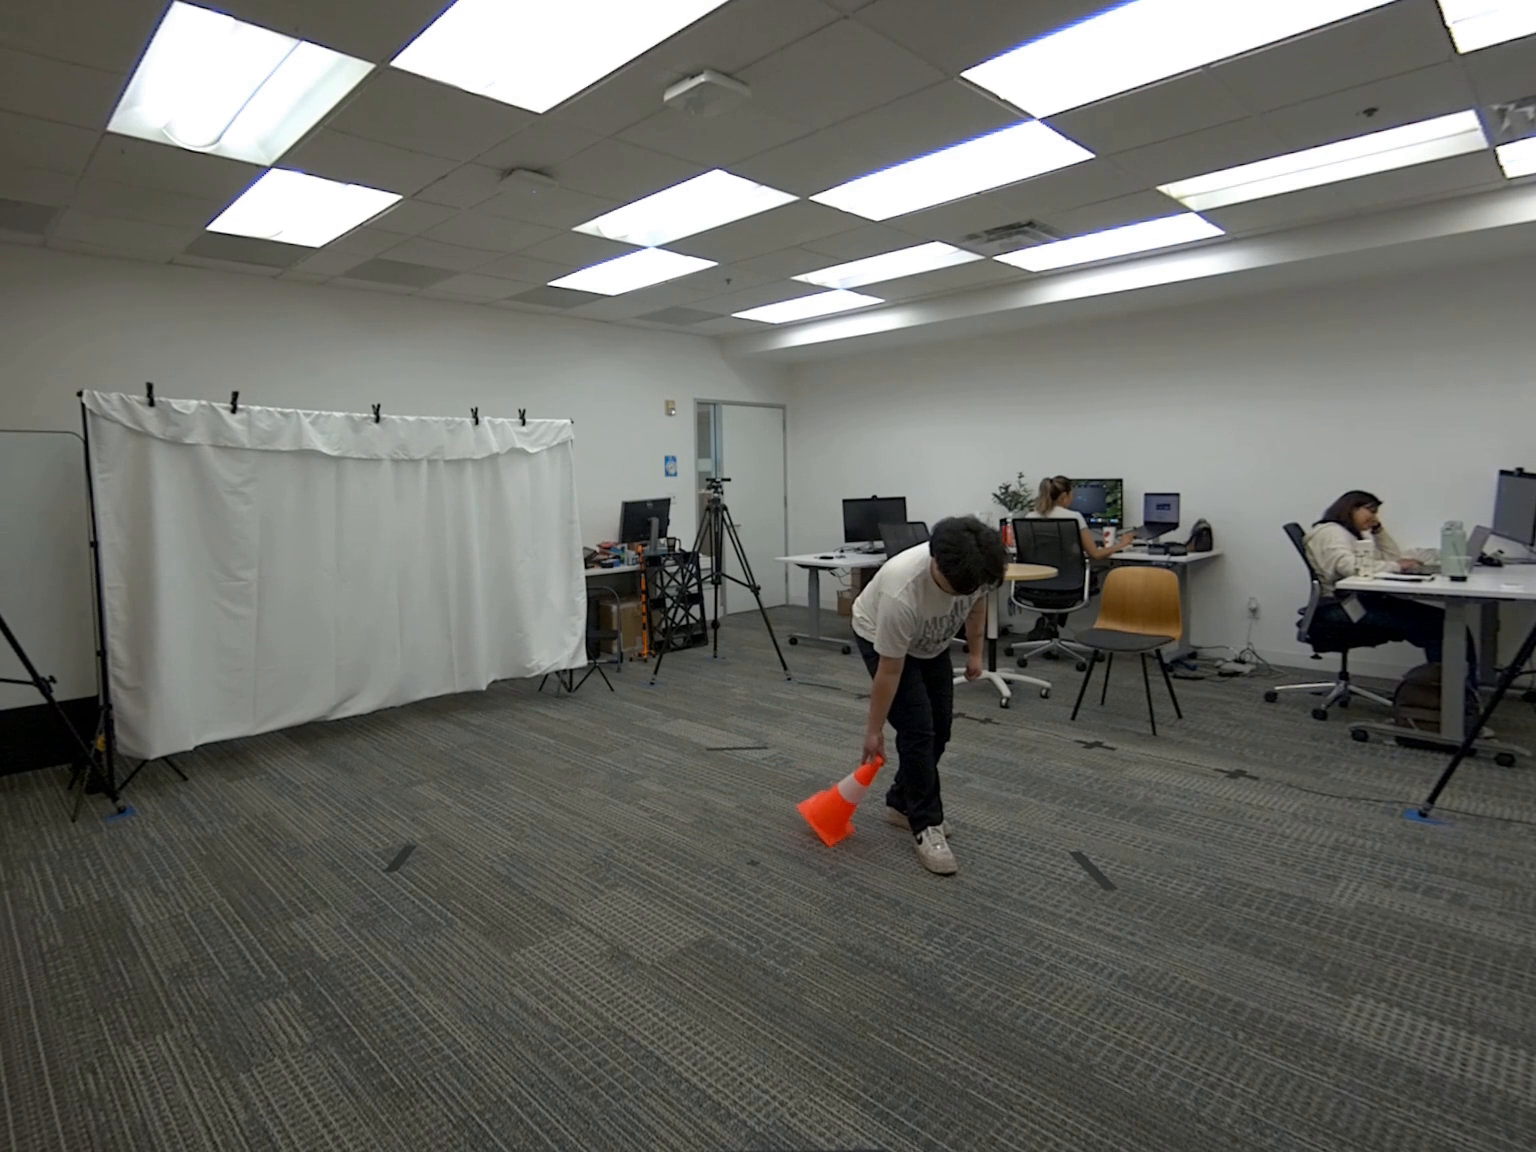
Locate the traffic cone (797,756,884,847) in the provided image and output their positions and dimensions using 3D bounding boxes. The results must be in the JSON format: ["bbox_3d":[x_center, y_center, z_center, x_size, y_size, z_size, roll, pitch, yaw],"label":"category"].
[{"bbox_3d":[0.326,0.815,3.254,0.209,0.380,0.201,42,31,20],"label":"traffic cone"}]
